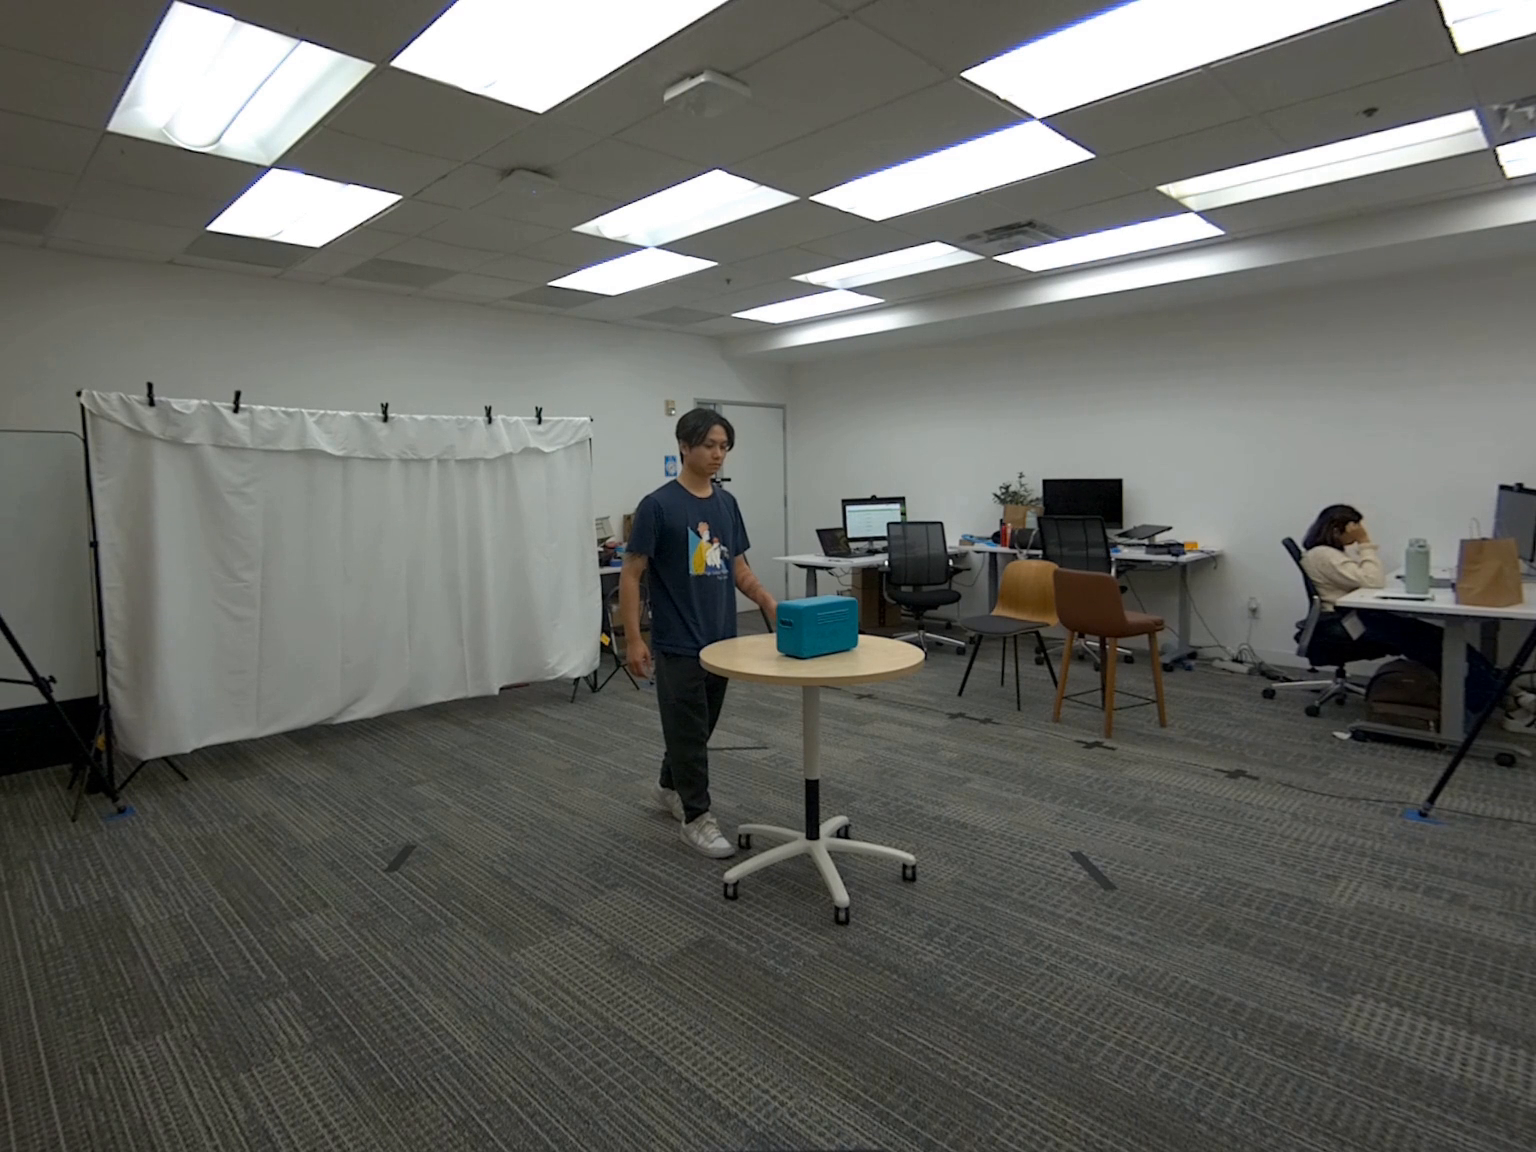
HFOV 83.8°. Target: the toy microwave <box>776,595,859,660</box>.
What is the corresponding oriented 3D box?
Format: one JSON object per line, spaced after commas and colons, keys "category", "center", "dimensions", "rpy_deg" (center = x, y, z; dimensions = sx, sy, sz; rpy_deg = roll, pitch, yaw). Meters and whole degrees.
{"category": "toy microwave", "center": [0.165, 0.170, 2.930], "dimensions": [0.279, 0.183, 0.157], "rpy_deg": [-6, 6, -39]}
